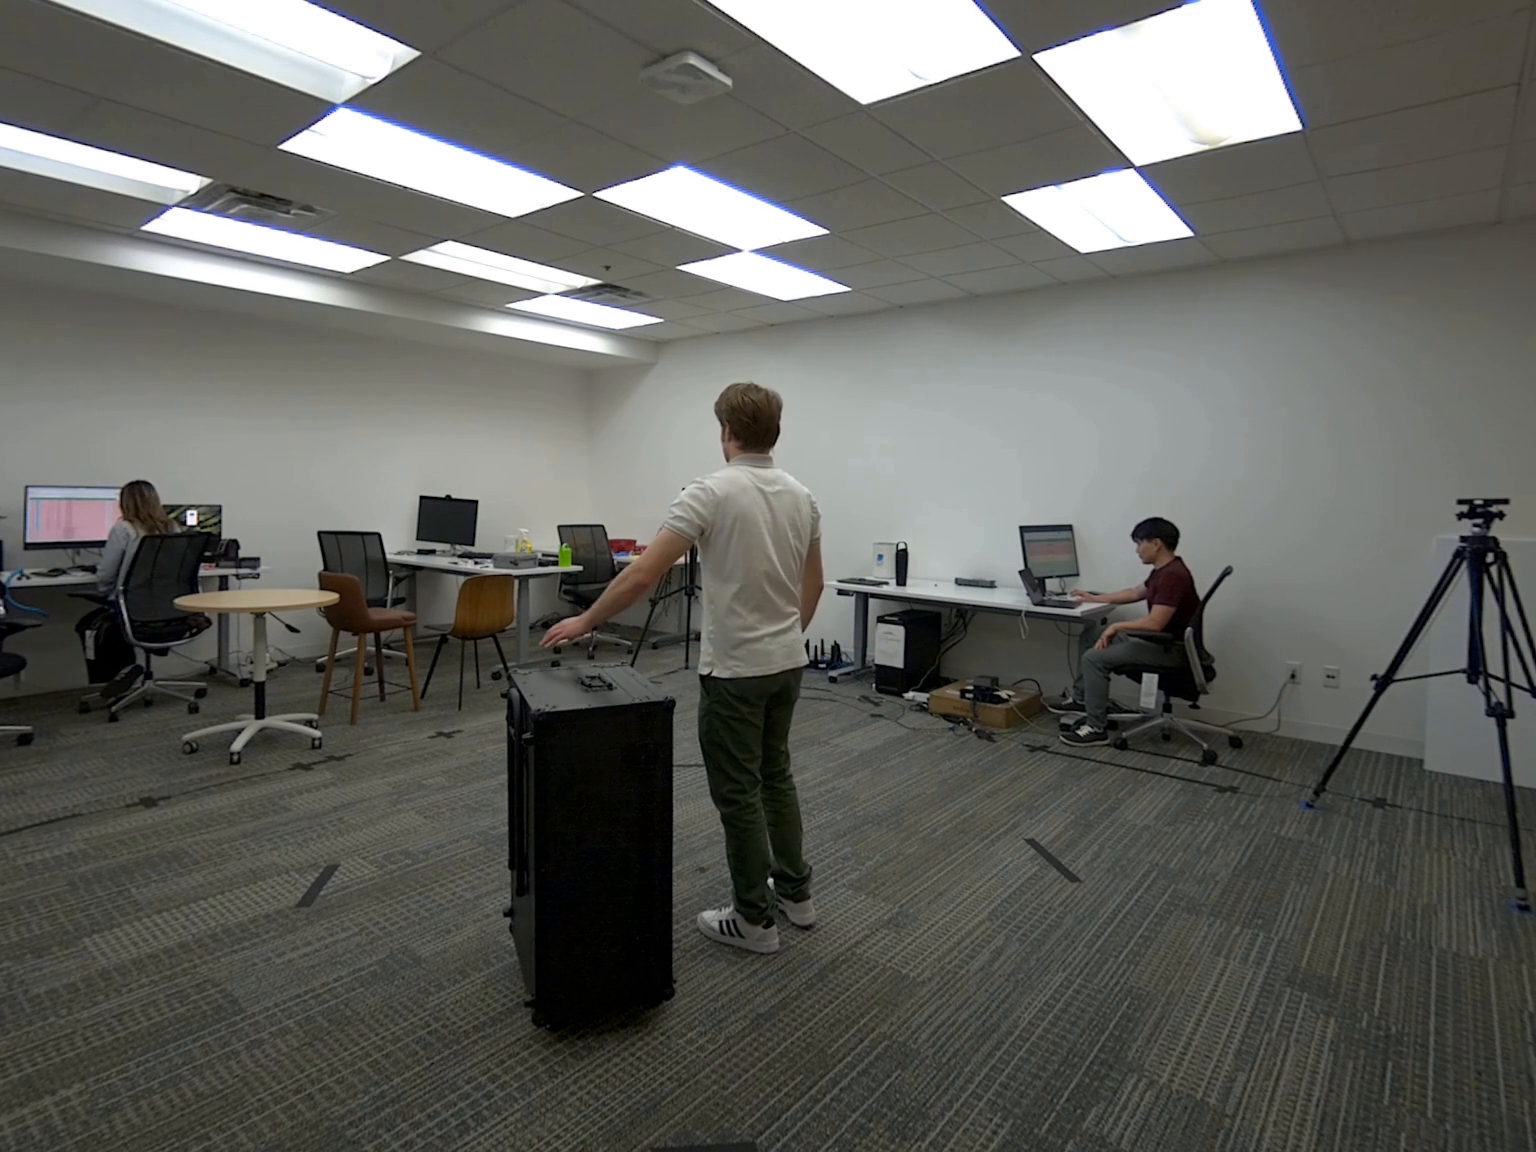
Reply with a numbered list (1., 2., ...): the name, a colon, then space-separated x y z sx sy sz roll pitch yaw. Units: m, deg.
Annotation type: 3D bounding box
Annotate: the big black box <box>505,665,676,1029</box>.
1. big black box: -0.514 0.723 2.323 0.377 0.865 0.537 -1 4 -24
